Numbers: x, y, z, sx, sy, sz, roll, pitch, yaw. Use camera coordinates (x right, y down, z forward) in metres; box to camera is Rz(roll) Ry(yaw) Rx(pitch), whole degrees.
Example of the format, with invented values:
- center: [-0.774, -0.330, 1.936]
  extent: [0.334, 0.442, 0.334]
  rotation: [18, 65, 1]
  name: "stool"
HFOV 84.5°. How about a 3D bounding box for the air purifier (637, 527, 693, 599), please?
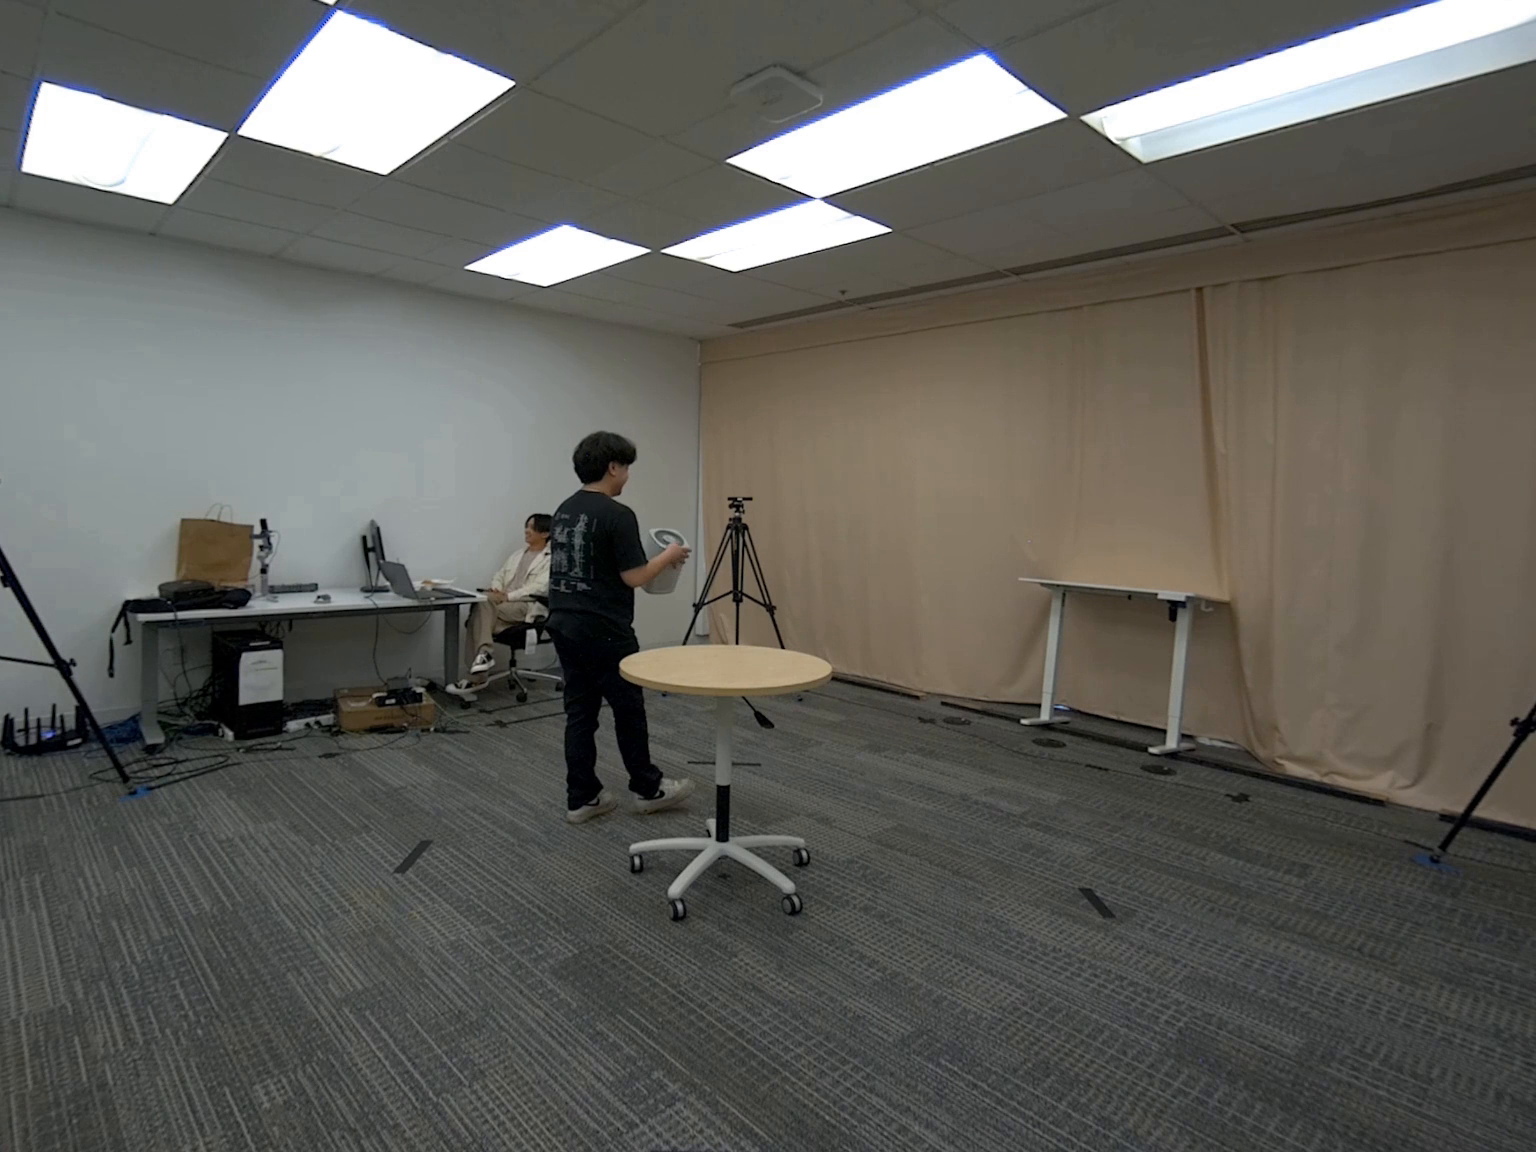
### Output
- center: [-0.500, -0.065, 3.874]
  extent: [0.168, 0.262, 0.176]
  rotation: [-4, 37, -39]
  name: "air purifier"
